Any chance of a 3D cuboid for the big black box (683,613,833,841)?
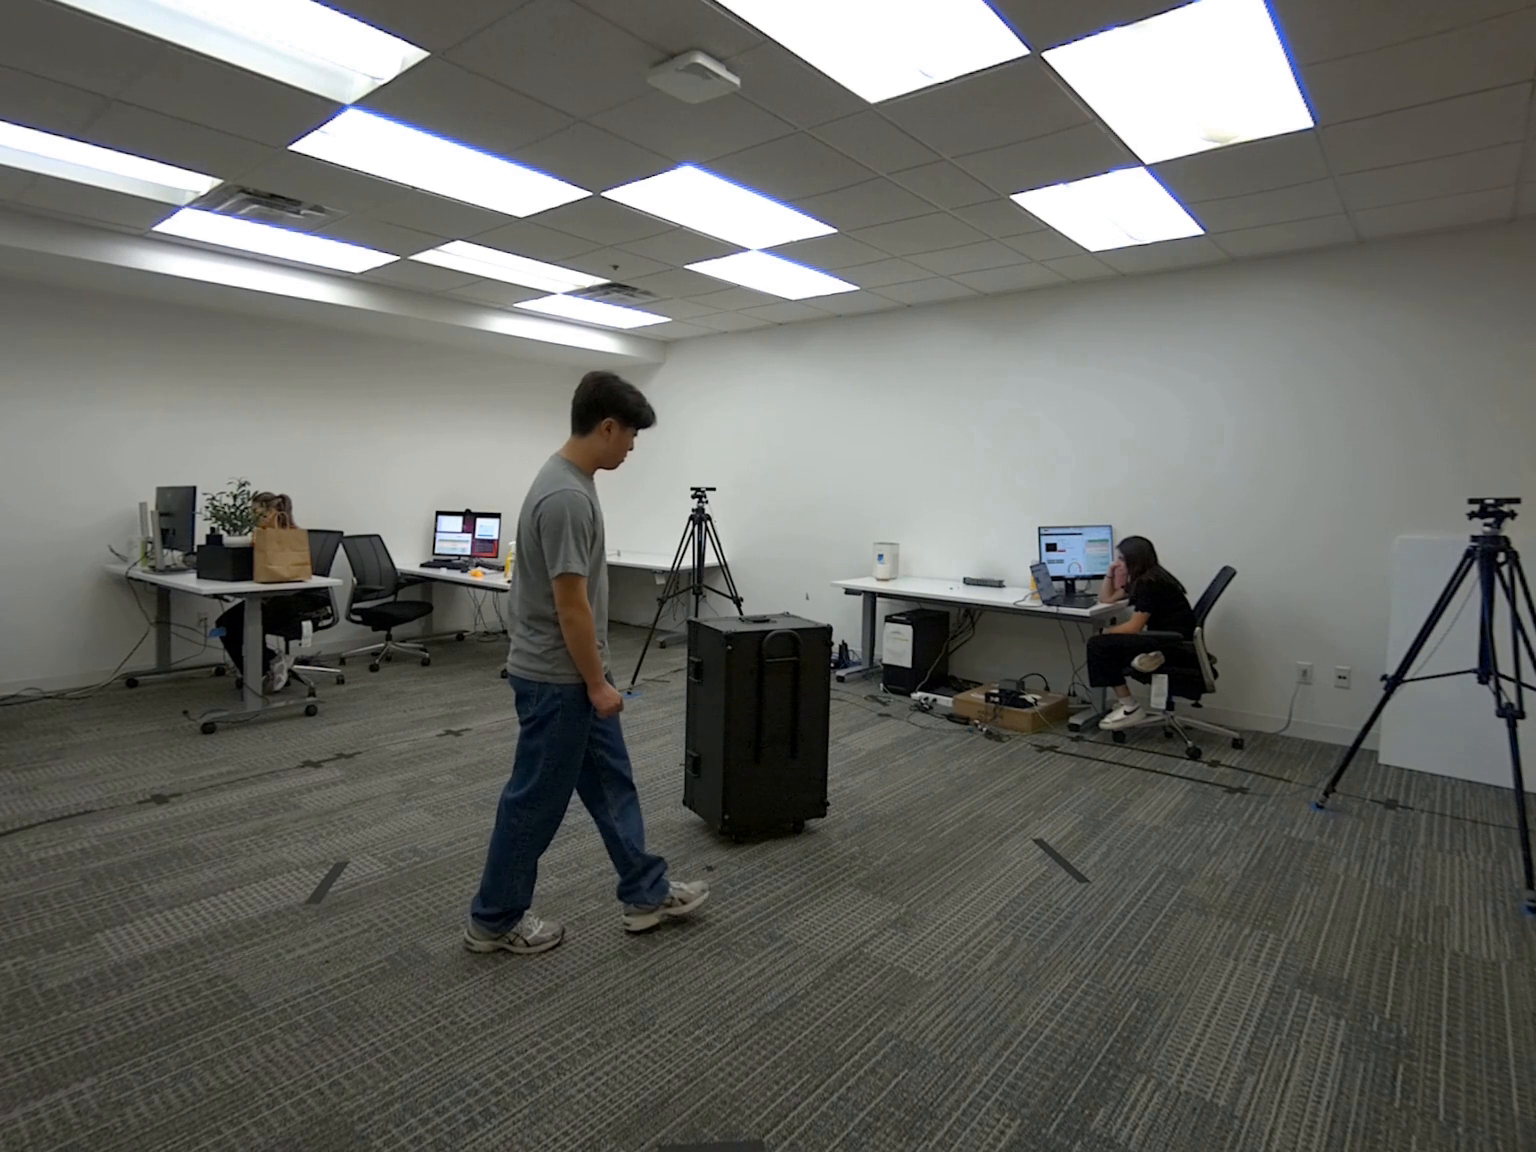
[{"bbox_3d":[-0.047,0.606,3.469,0.508,0.858,0.408,0,5,-28],"label":"big black box"}]
